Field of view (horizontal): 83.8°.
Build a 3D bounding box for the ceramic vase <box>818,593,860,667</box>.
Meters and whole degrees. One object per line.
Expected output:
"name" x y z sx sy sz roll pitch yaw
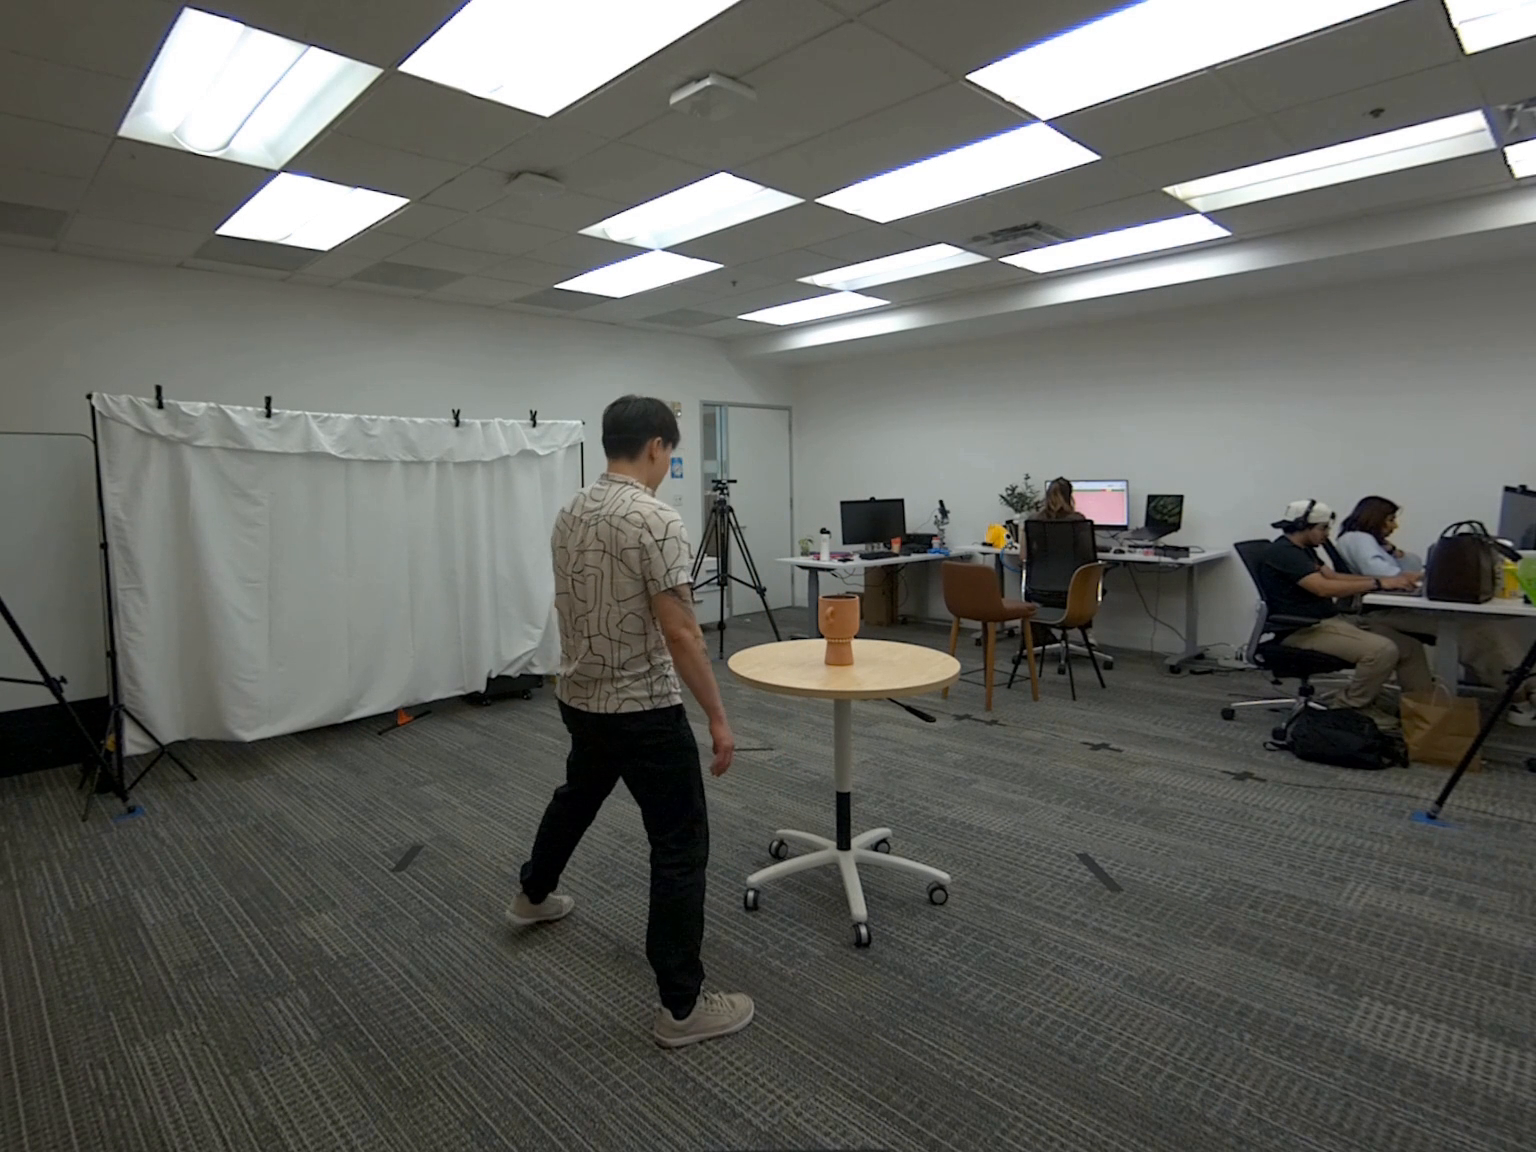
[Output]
"ceramic vase" 0.241 0.181 2.827 0.156 0.219 0.138 -3 6 -22
